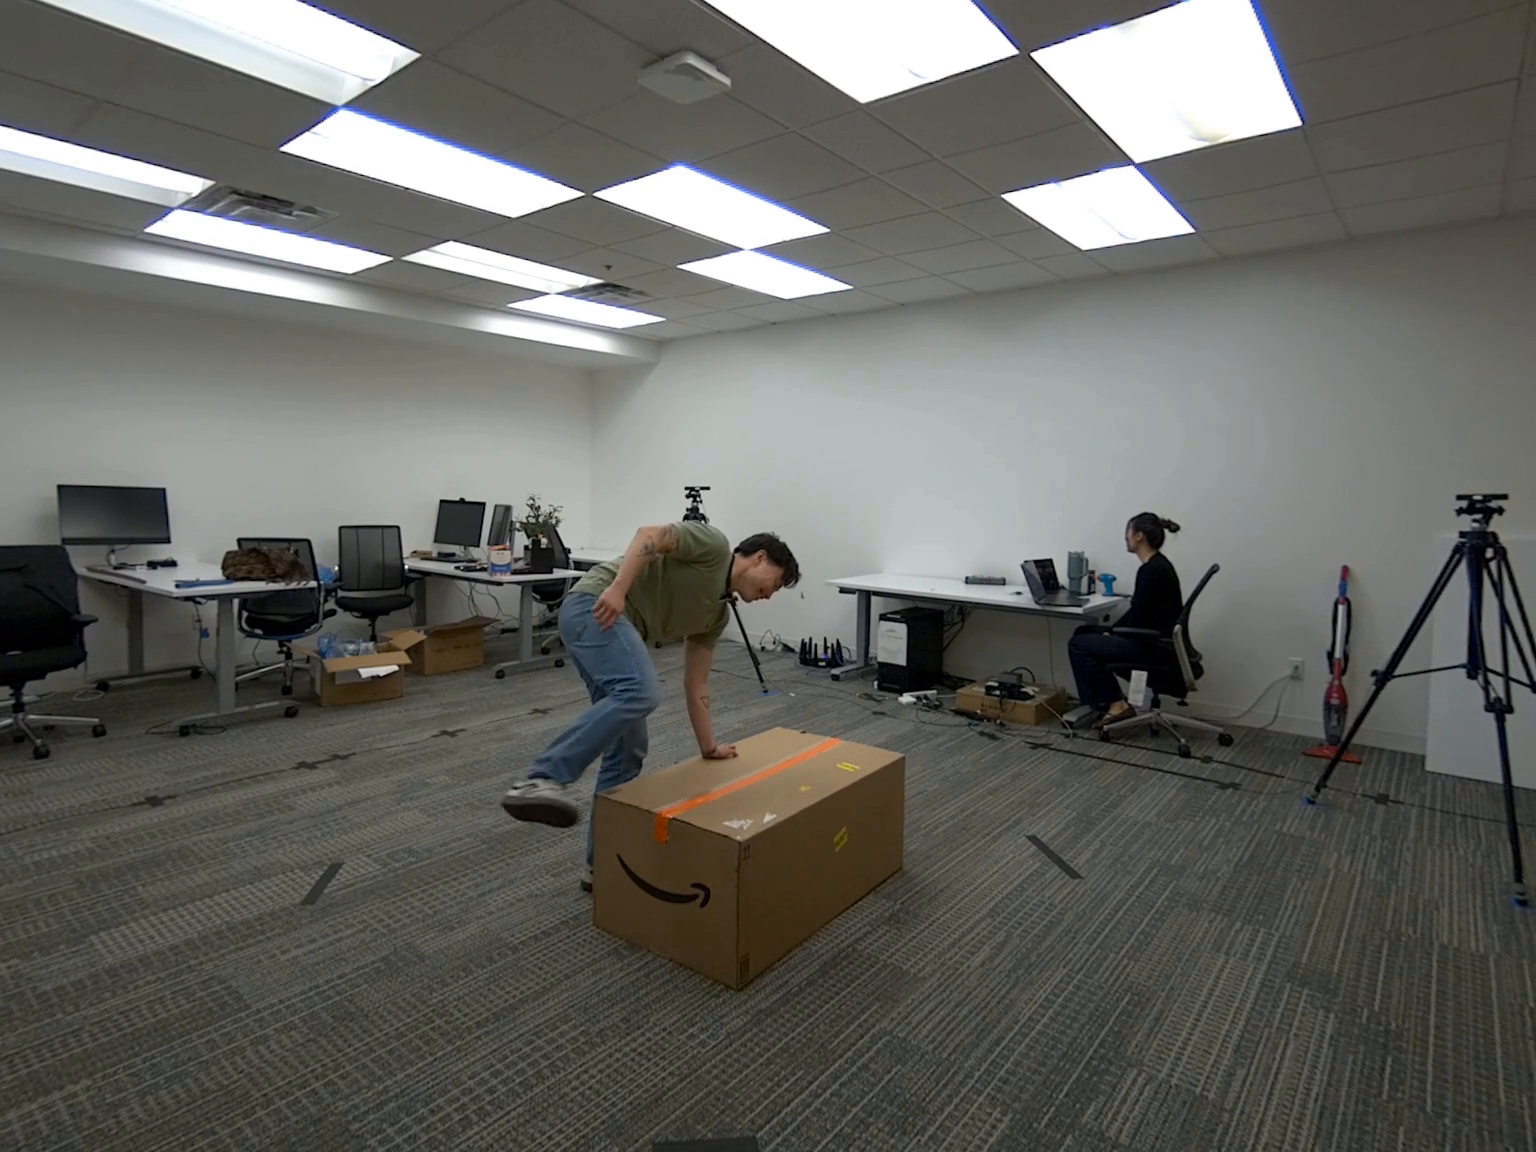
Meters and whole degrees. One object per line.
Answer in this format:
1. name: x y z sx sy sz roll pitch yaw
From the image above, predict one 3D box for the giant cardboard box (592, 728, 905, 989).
1. giant cardboard box: -0.032 0.877 2.904 0.596 0.424 0.997 5 6 36
